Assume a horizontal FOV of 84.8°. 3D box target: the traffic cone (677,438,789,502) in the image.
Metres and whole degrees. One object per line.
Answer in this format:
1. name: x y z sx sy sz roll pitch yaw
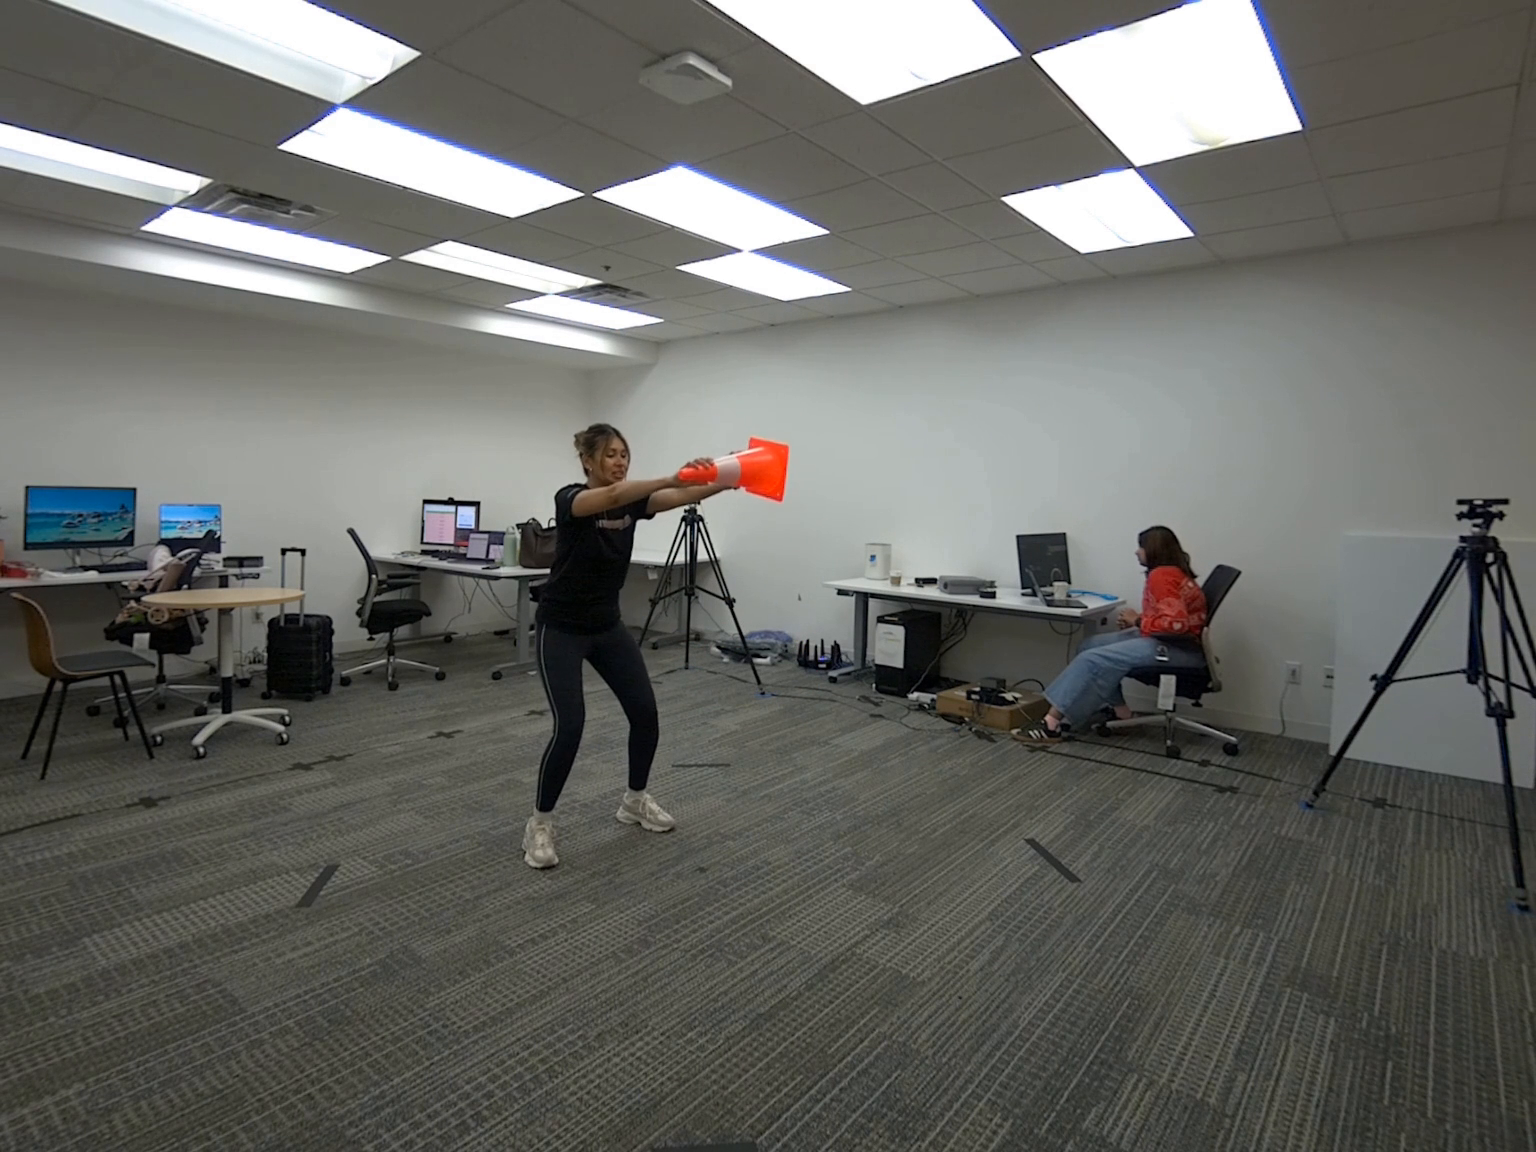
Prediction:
1. traffic cone: -0.154 -0.340 2.828 0.373 0.202 0.211 -10 21 -41
